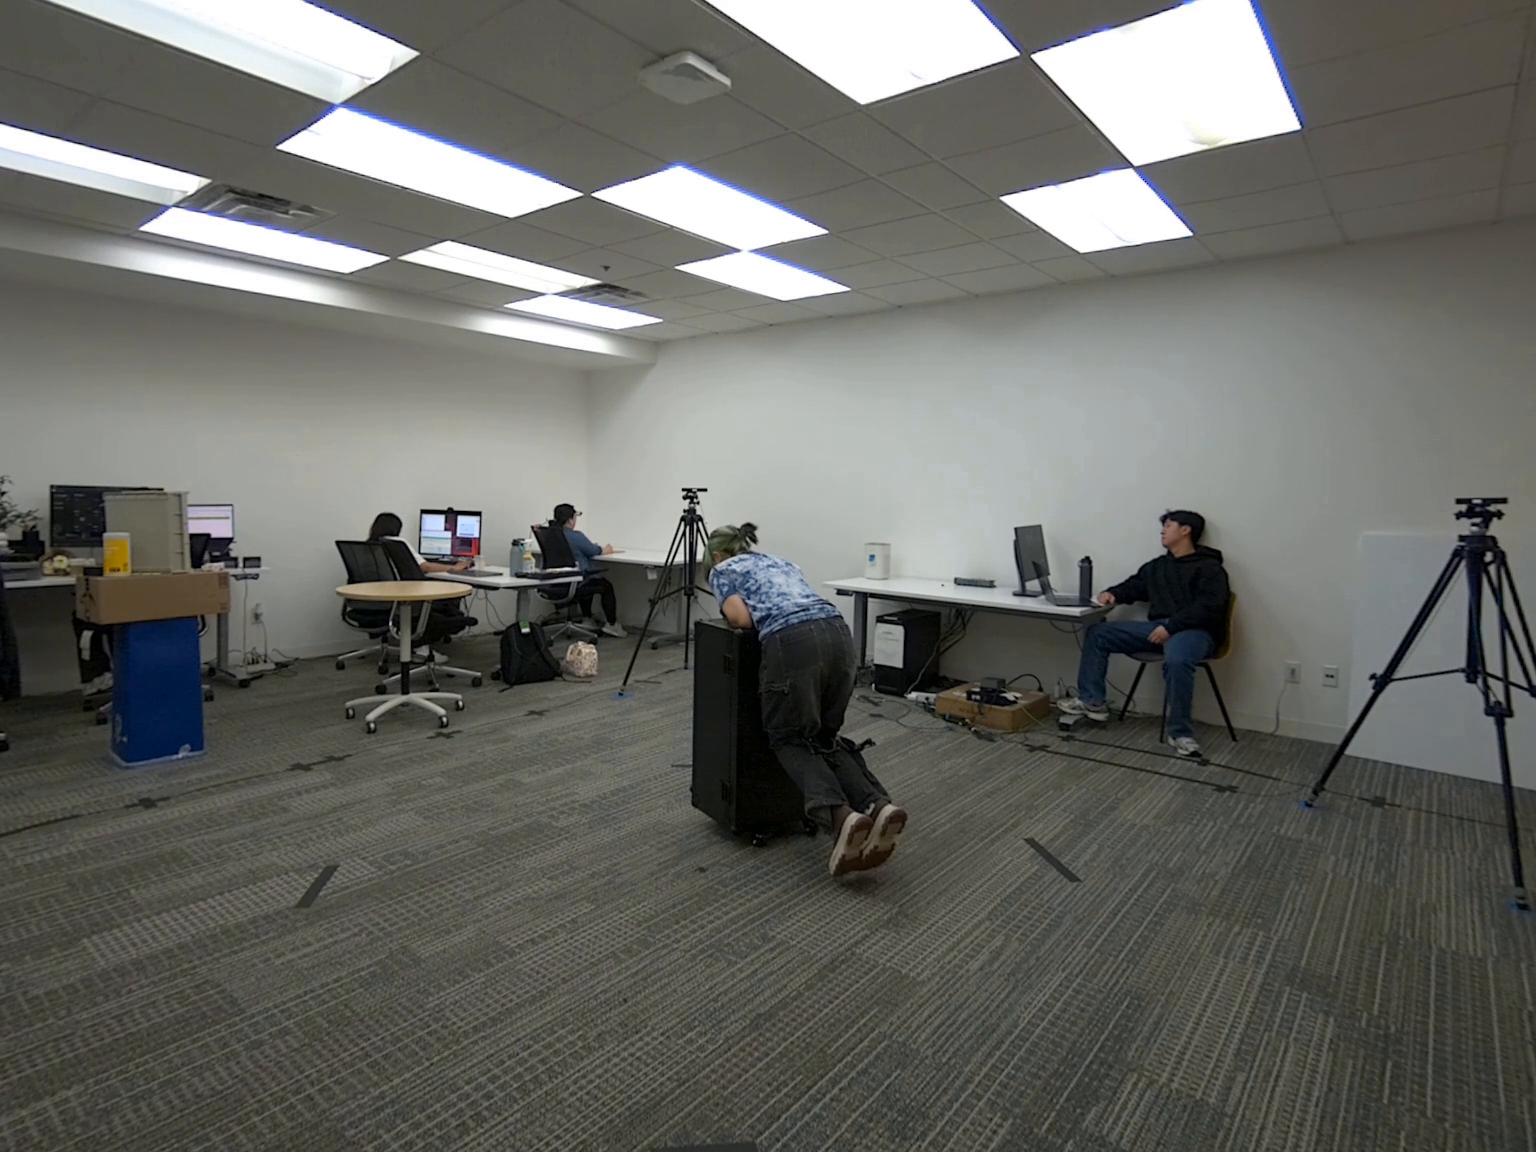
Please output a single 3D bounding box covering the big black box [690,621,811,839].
[{"bbox_3d":[-0.033,0.558,3.516,0.507,0.859,0.408,-1,3,-32],"label":"big black box"}]
